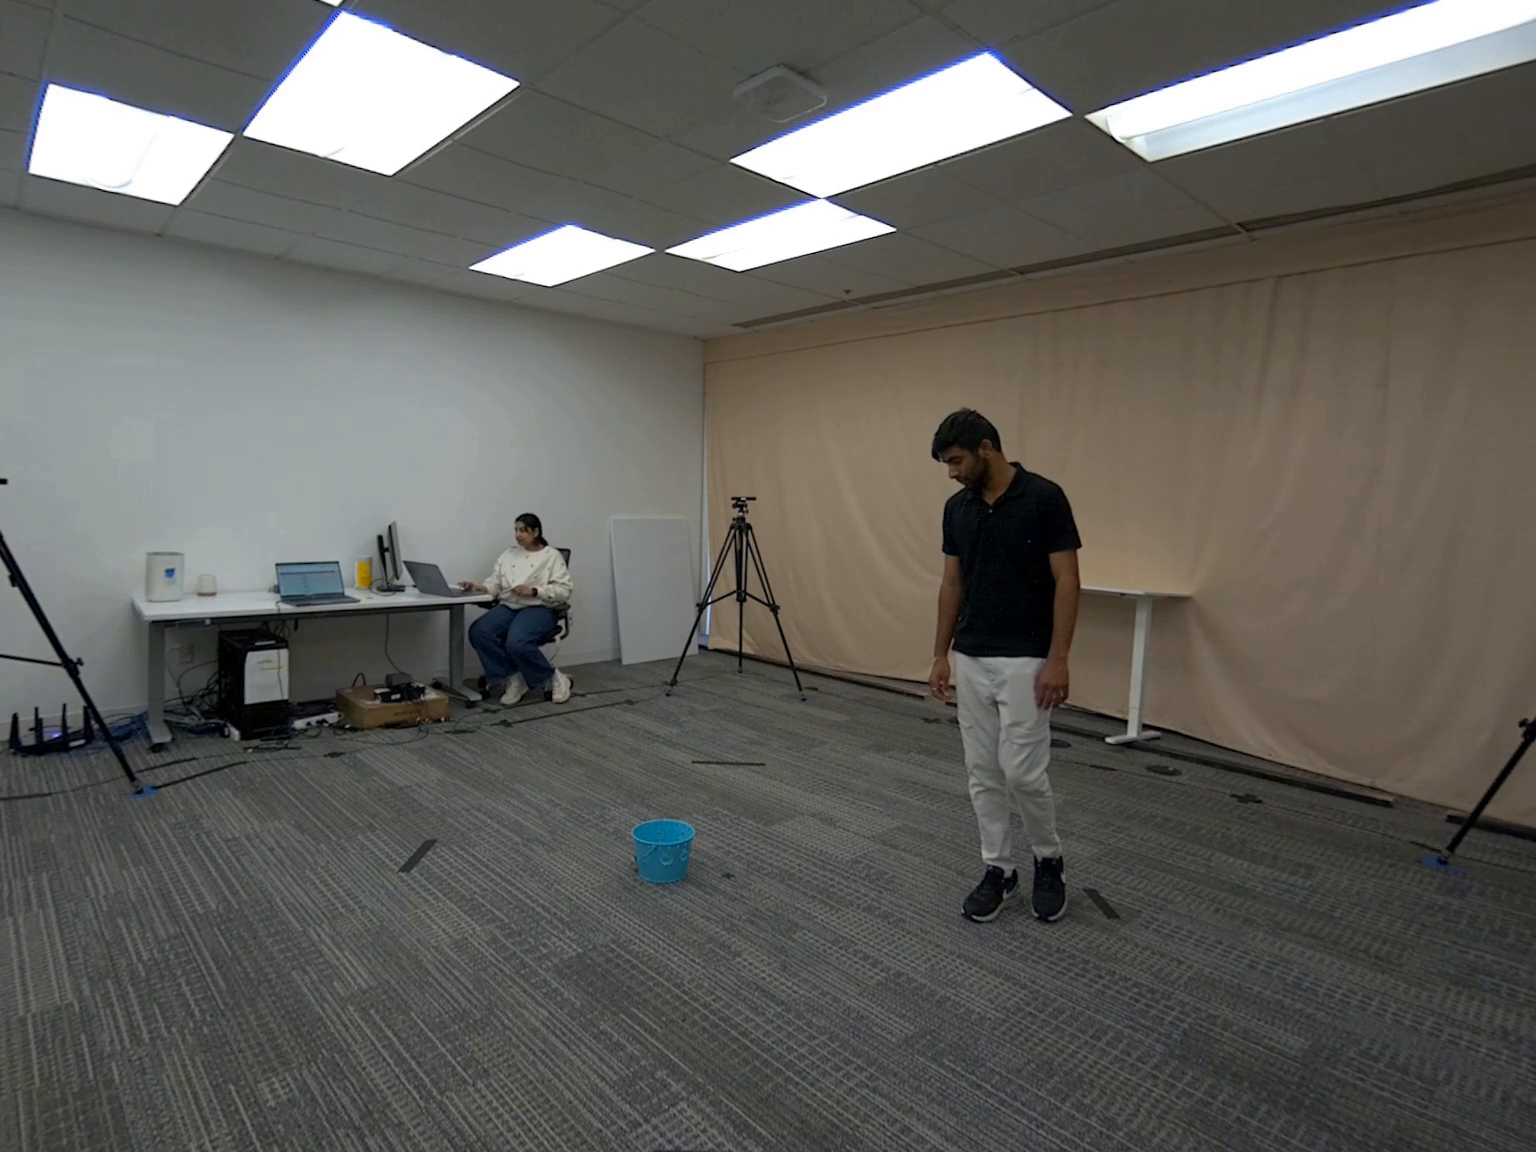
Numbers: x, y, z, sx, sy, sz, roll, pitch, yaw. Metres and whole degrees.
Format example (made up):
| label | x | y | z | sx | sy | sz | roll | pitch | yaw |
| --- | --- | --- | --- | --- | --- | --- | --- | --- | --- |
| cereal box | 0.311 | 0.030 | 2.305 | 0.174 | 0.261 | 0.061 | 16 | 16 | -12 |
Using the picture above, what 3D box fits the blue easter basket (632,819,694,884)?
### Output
| label | x | y | z | sx | sy | sz | roll | pitch | yaw |
| --- | --- | --- | --- | --- | --- | --- | --- | --- | --- |
| blue easter basket | -0.399 | 1.020 | 3.128 | 0.243 | 0.155 | 0.244 | 1 | 5 | -1 |
